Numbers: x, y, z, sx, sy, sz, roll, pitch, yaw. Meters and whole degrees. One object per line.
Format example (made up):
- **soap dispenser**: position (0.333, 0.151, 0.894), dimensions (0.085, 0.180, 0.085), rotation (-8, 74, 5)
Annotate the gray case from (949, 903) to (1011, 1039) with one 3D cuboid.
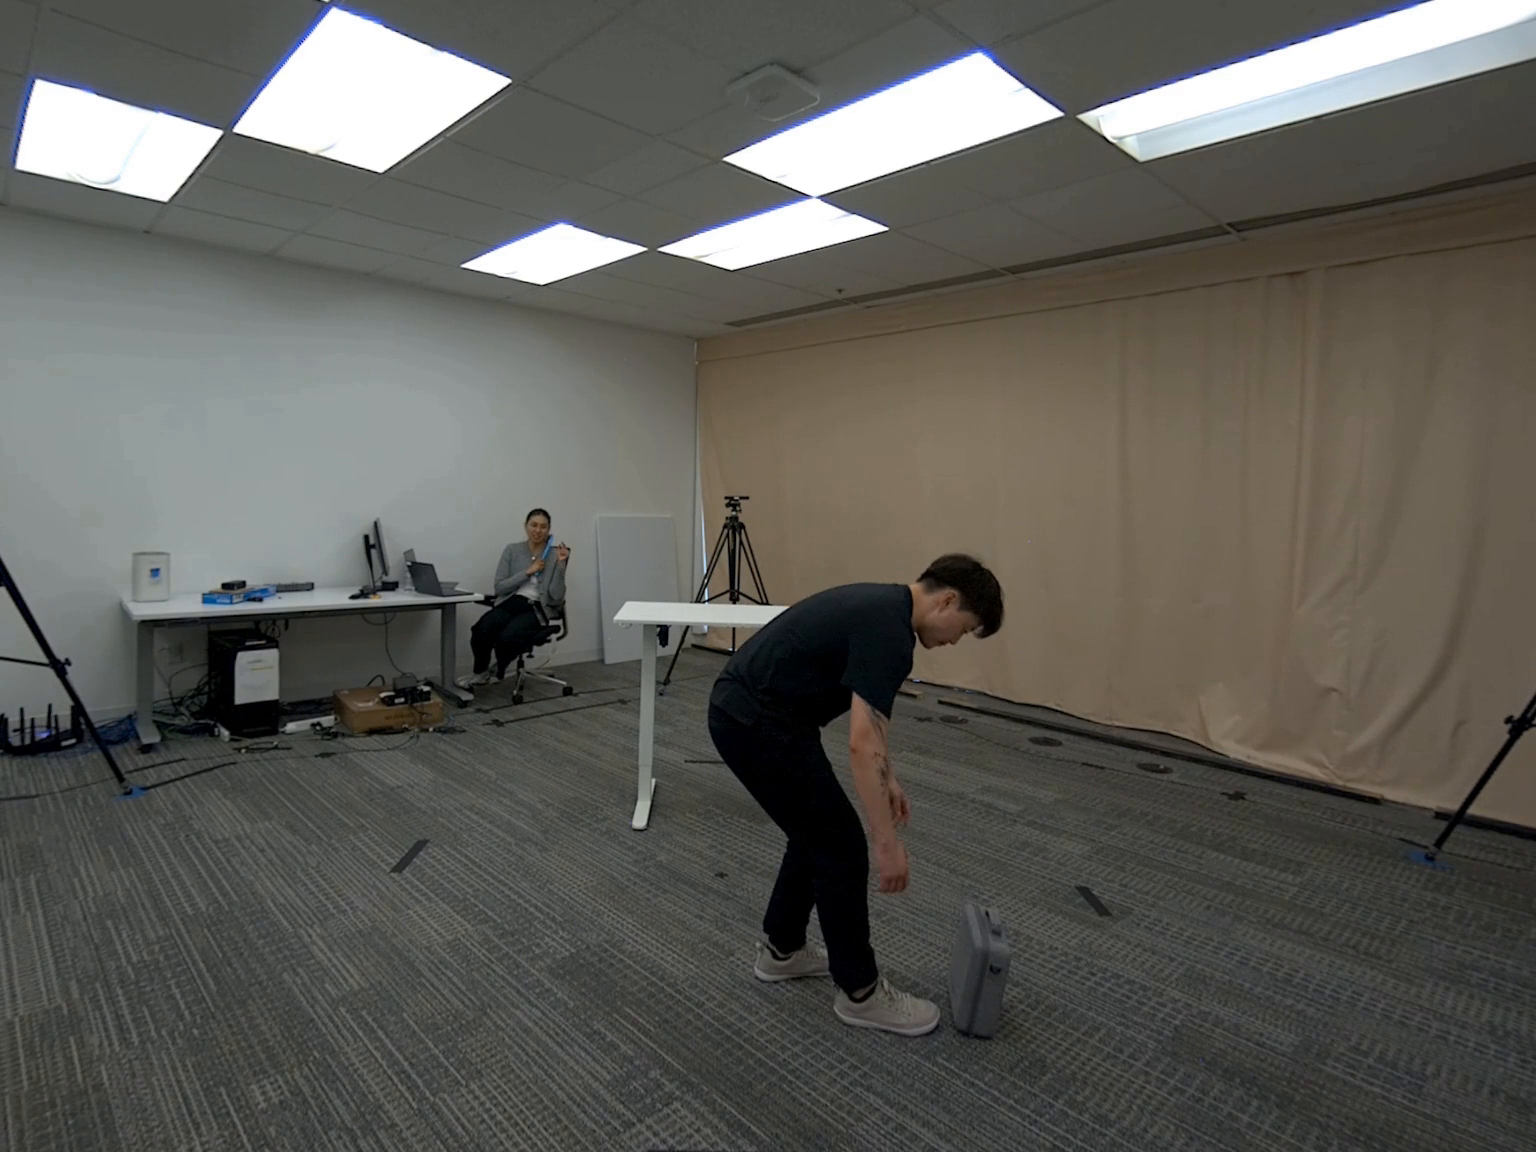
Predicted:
- **gray case**: position (0.572, 1.067, 2.291), dimensions (0.105, 0.260, 0.256), rotation (11, 6, 6)
